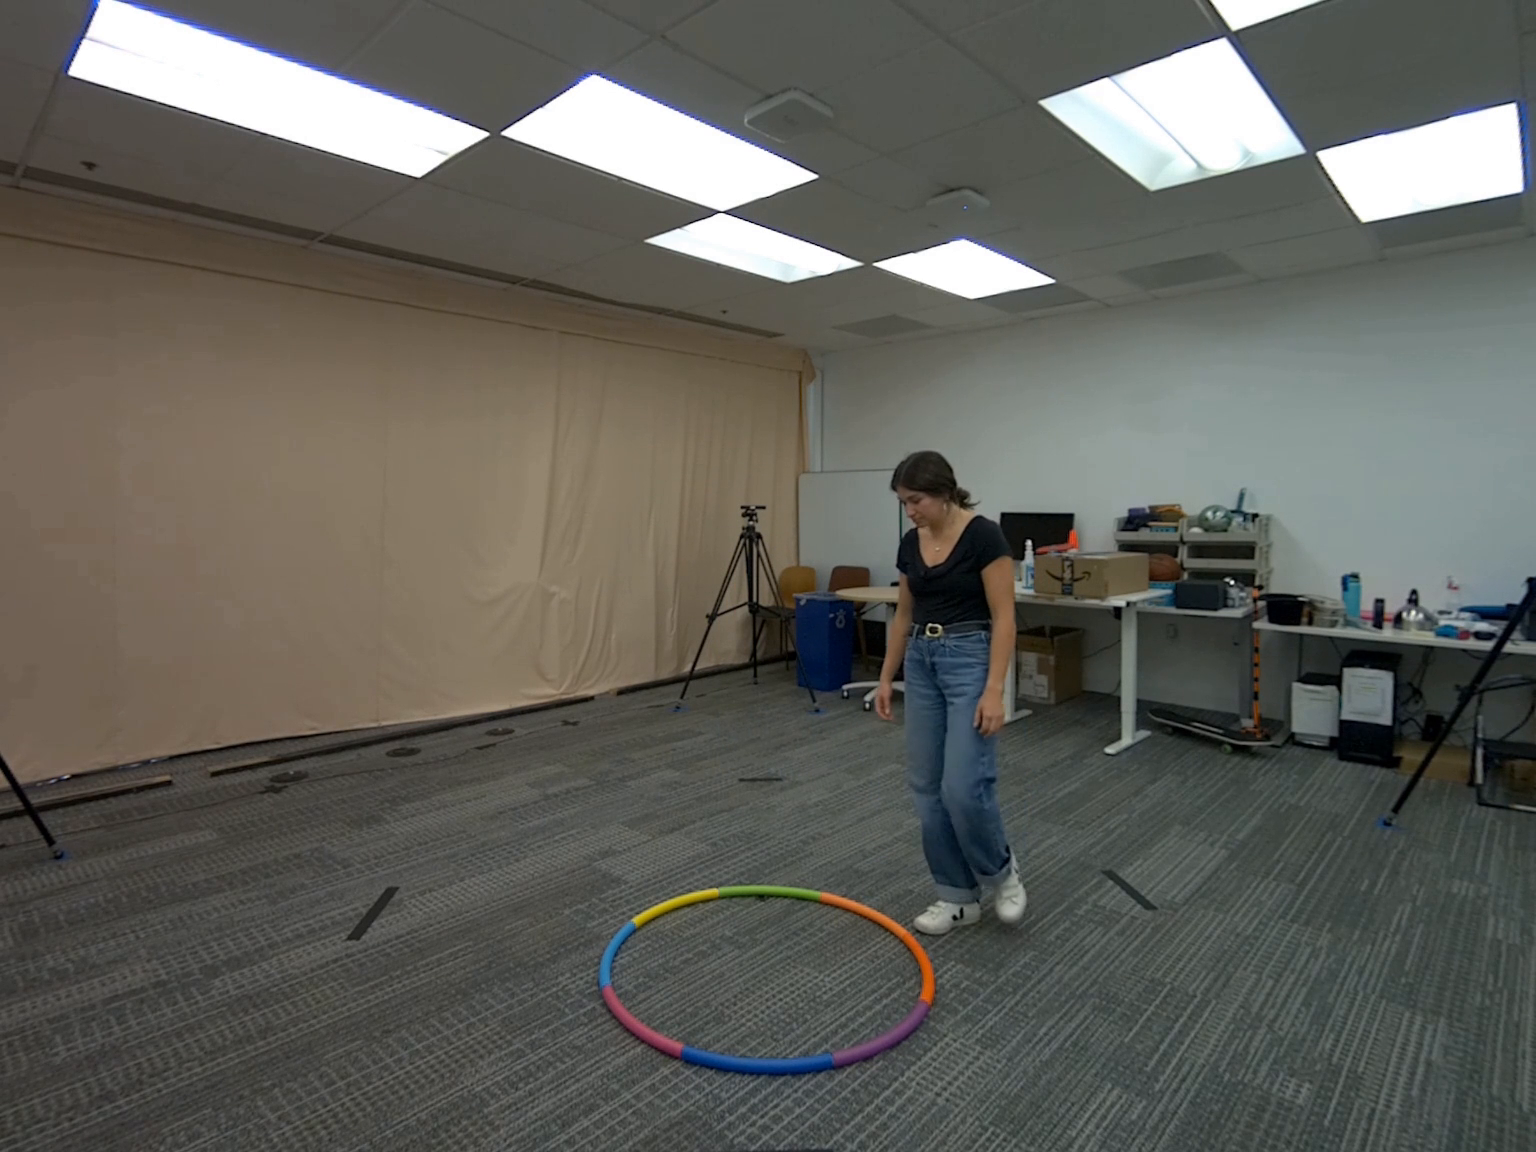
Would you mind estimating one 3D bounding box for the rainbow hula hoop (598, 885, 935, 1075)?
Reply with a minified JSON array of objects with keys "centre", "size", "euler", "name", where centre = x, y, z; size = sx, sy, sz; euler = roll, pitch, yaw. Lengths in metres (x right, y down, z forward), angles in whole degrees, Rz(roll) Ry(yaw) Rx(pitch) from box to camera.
[{"centre":[-0.002,1.153,2.542],"size":[0.978,0.035,0.982],"euler":[0,5,-2],"name":"rainbow hula hoop"}]
